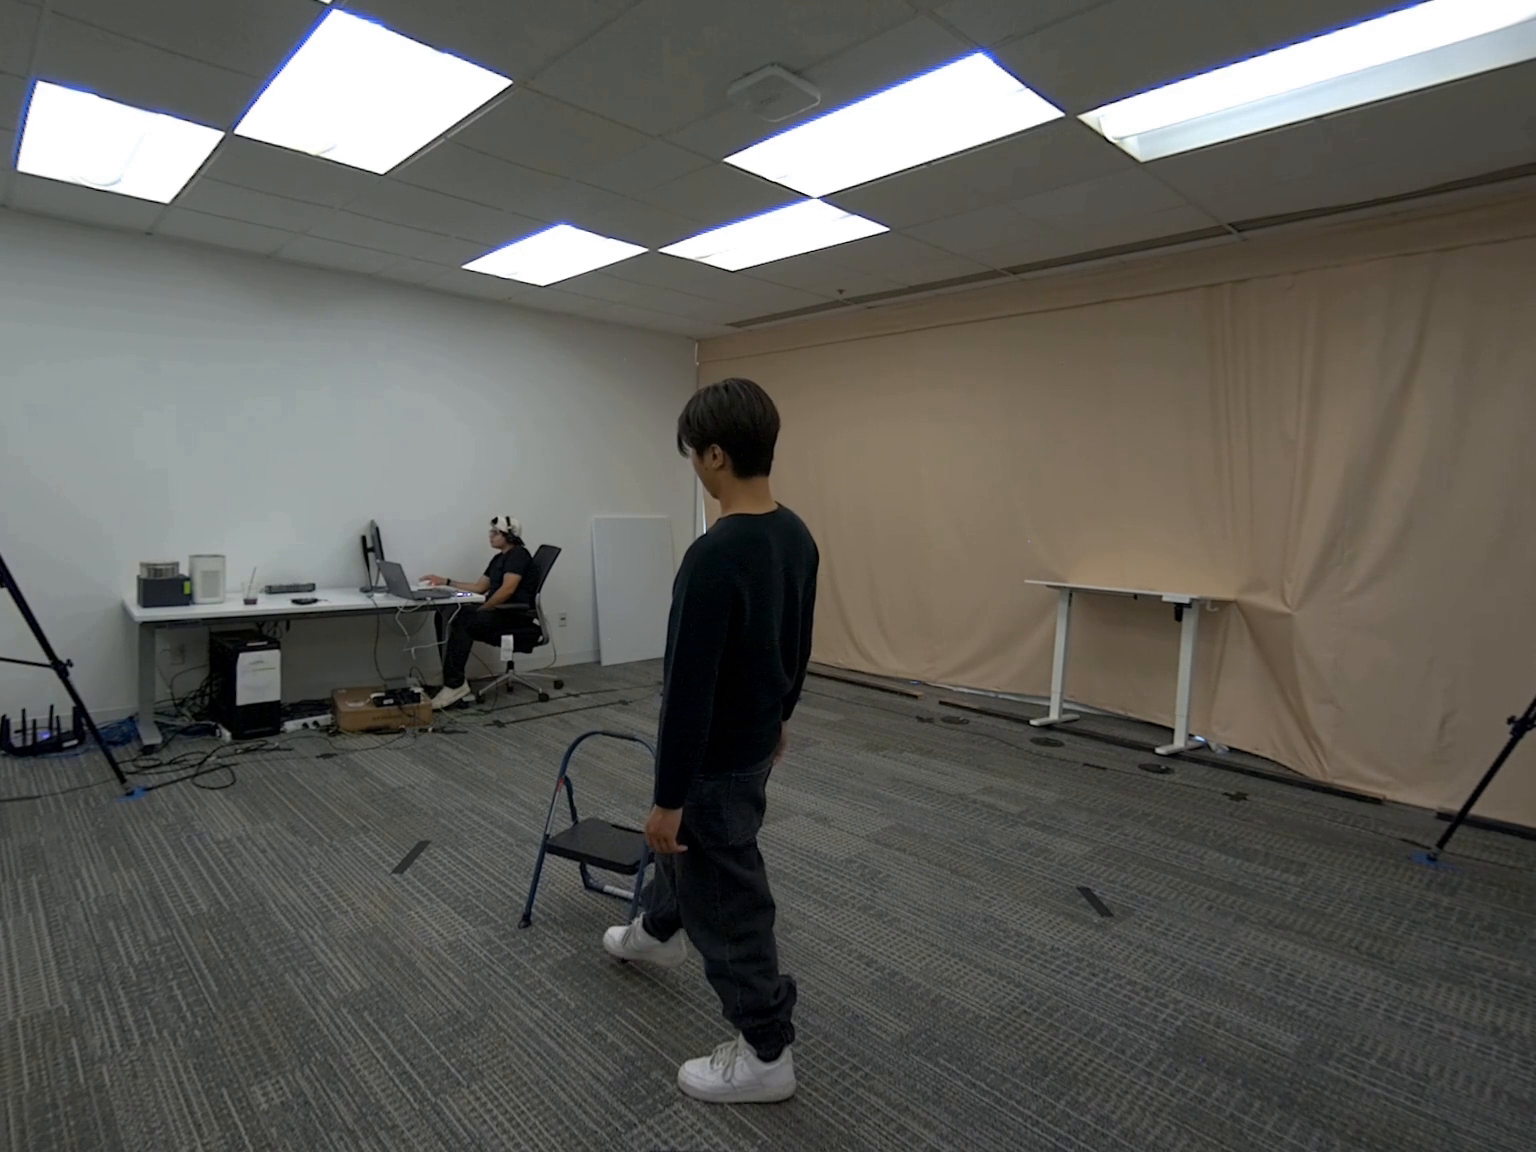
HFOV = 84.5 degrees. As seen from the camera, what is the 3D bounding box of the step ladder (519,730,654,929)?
[{"bbox_3d":[-0.537,0.830,2.737,0.440,0.604,0.343,4,5,28],"label":"step ladder"}]
